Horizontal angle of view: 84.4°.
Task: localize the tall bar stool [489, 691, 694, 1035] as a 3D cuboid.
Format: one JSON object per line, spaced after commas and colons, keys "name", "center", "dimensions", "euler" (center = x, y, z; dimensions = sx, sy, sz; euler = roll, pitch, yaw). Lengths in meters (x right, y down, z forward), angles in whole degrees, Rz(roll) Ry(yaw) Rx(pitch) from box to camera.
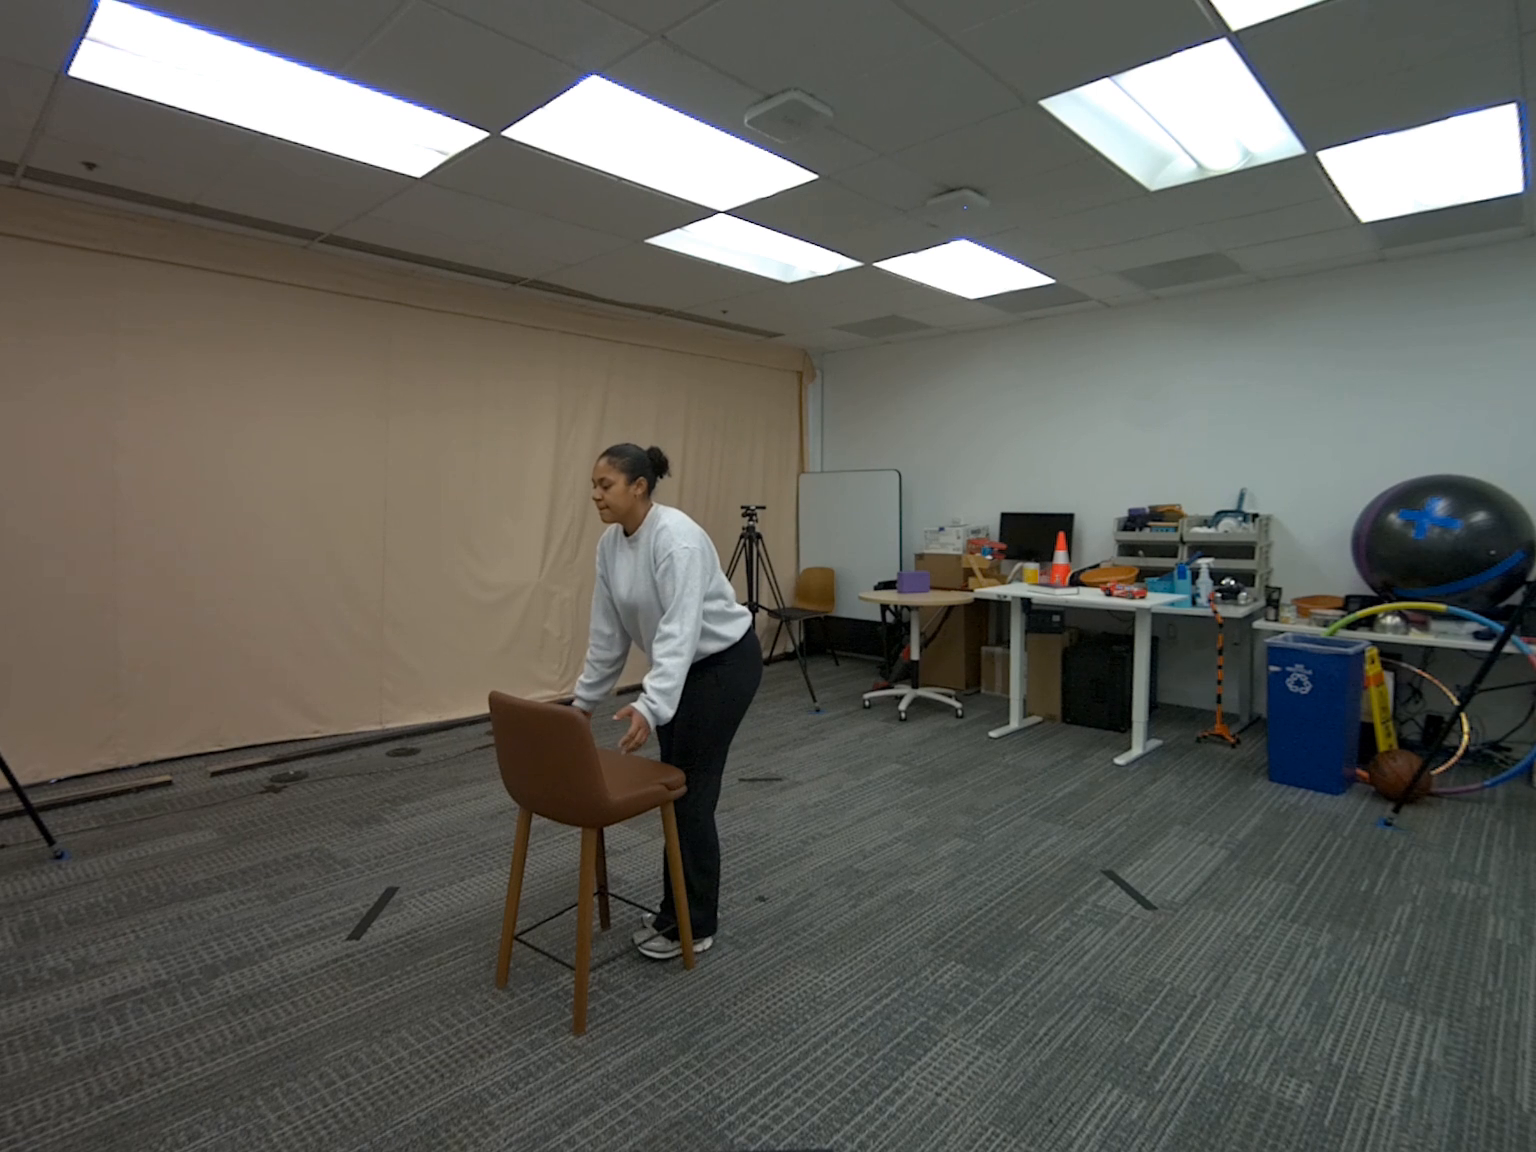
{"name": "tall bar stool", "center": [-0.521, 0.752, 2.469], "dimensions": [0.471, 0.887, 0.454], "euler": [2, 6, 38]}
